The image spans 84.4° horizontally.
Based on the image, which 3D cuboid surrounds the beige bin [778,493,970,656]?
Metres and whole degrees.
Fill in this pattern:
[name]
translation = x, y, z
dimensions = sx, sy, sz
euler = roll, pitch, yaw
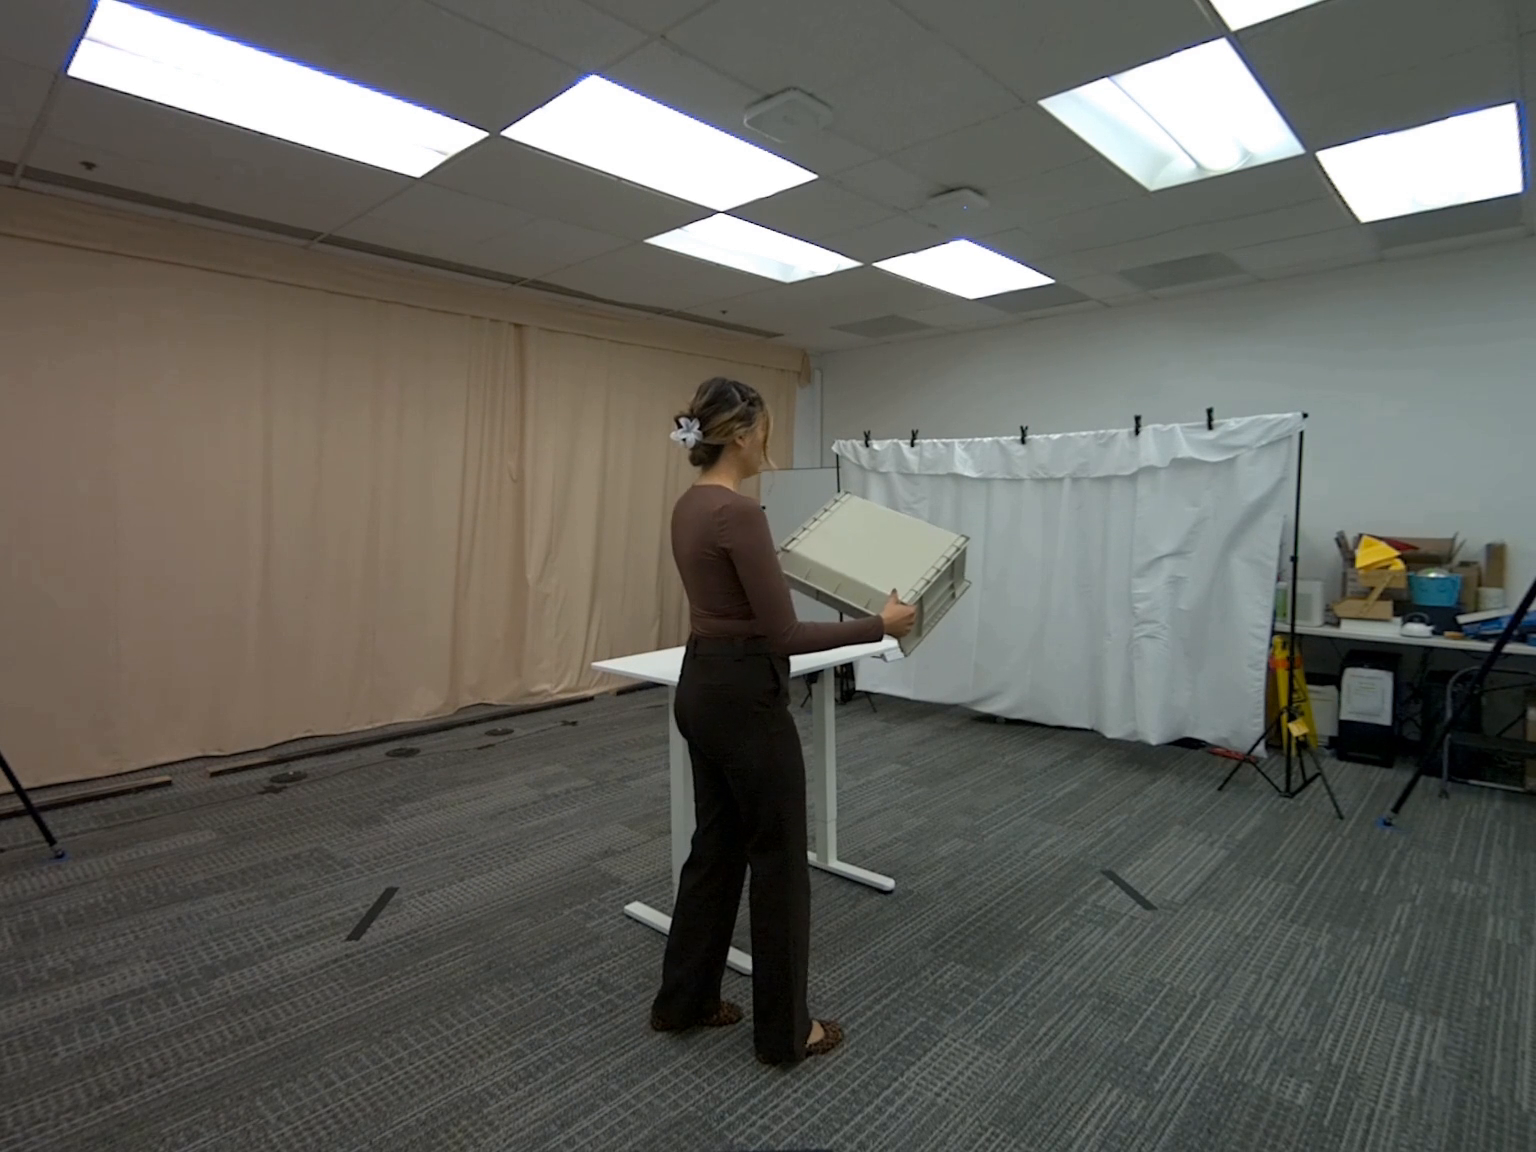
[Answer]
[beige bin]
translation = 0.291, -0.013, 2.321
dimensions = 0.436, 0.185, 0.373
euler = 24, 50, 31
